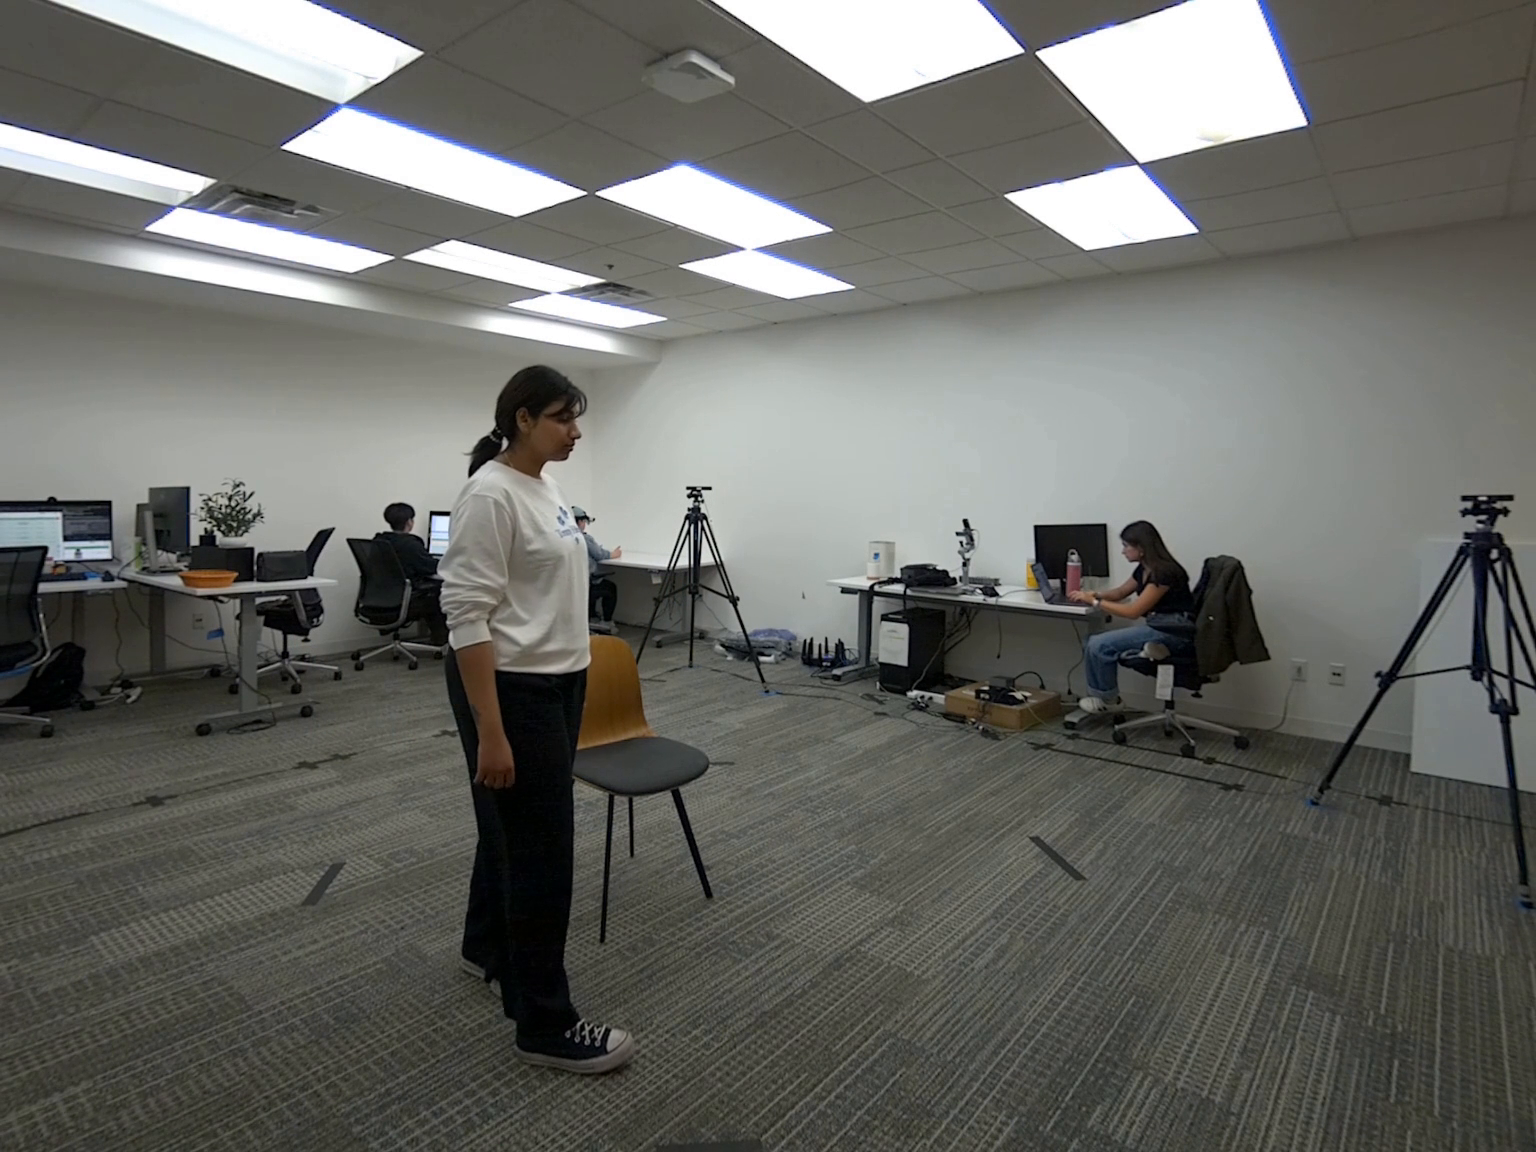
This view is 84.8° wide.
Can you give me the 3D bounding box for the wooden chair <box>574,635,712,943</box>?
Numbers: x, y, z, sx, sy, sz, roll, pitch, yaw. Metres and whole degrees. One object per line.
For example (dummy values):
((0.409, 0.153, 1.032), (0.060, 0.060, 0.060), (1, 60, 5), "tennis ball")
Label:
((-0.489, 0.657, 2.865), (0.463, 0.878, 0.539), (-2, 0, -44), "wooden chair")
